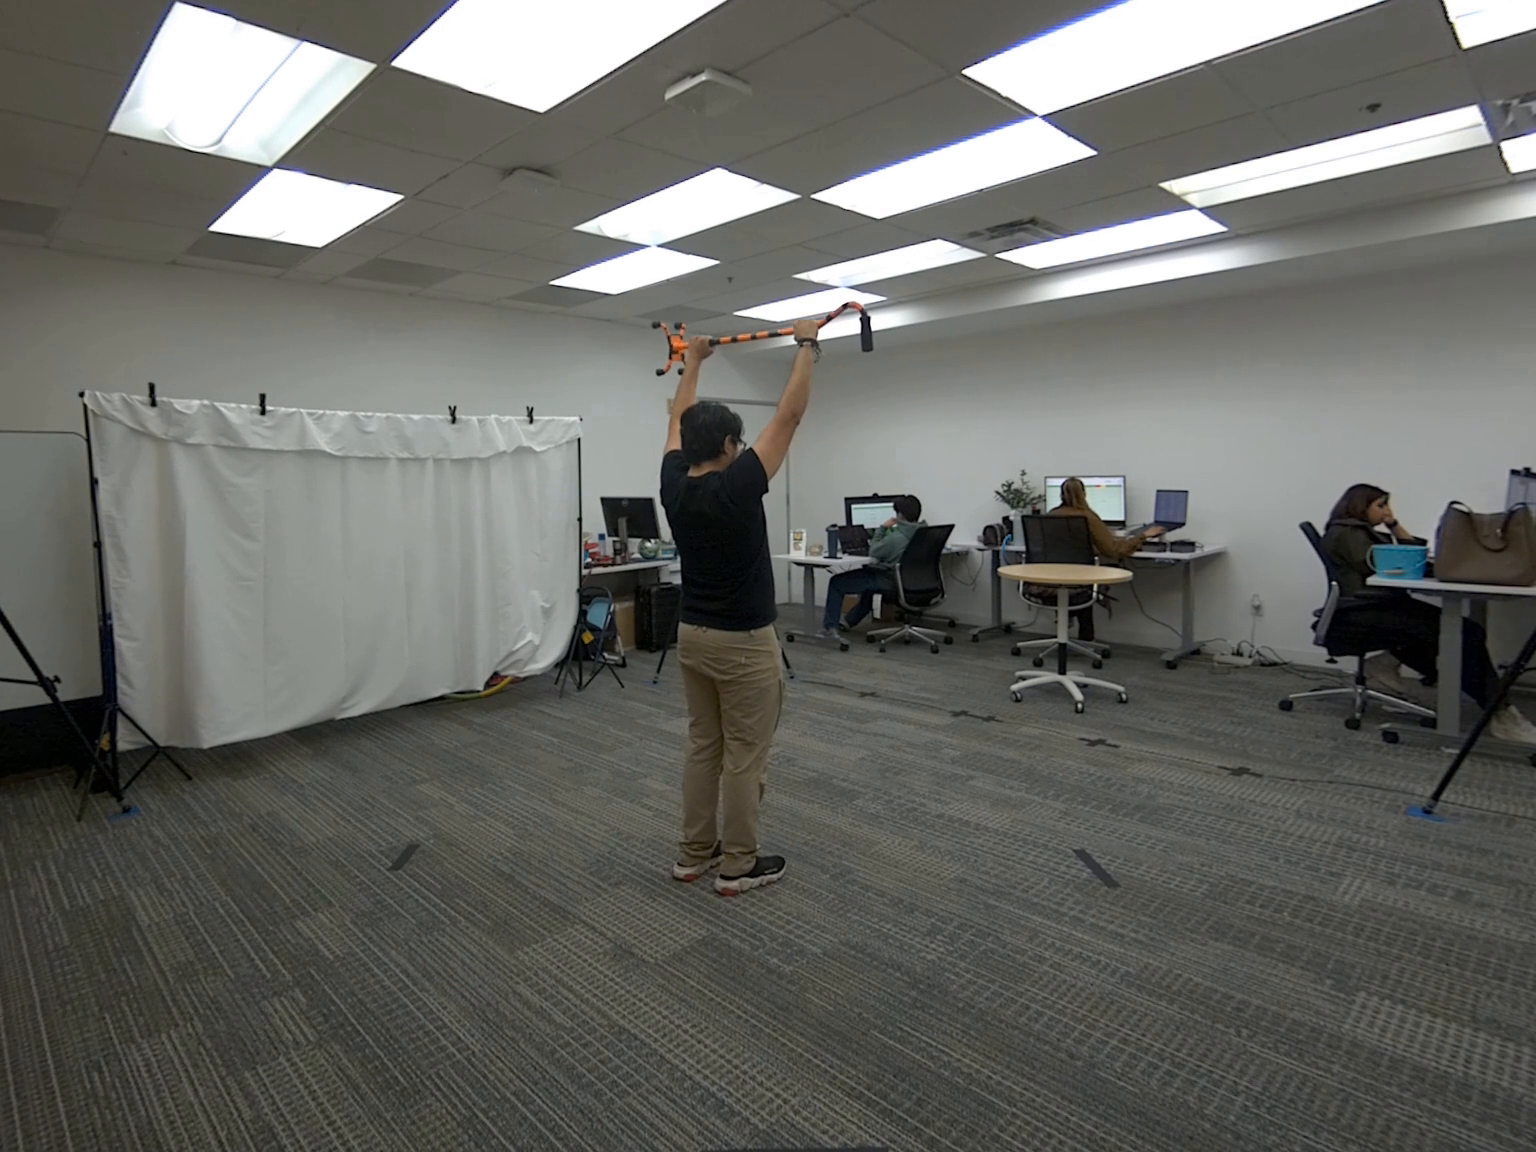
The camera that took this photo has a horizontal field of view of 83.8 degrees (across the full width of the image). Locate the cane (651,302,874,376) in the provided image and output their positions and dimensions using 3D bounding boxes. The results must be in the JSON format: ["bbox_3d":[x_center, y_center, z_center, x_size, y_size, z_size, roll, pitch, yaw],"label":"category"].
[{"bbox_3d":[-0.028,-0.839,3.005,0.936,0.204,0.148,5,14,40],"label":"cane"}]
